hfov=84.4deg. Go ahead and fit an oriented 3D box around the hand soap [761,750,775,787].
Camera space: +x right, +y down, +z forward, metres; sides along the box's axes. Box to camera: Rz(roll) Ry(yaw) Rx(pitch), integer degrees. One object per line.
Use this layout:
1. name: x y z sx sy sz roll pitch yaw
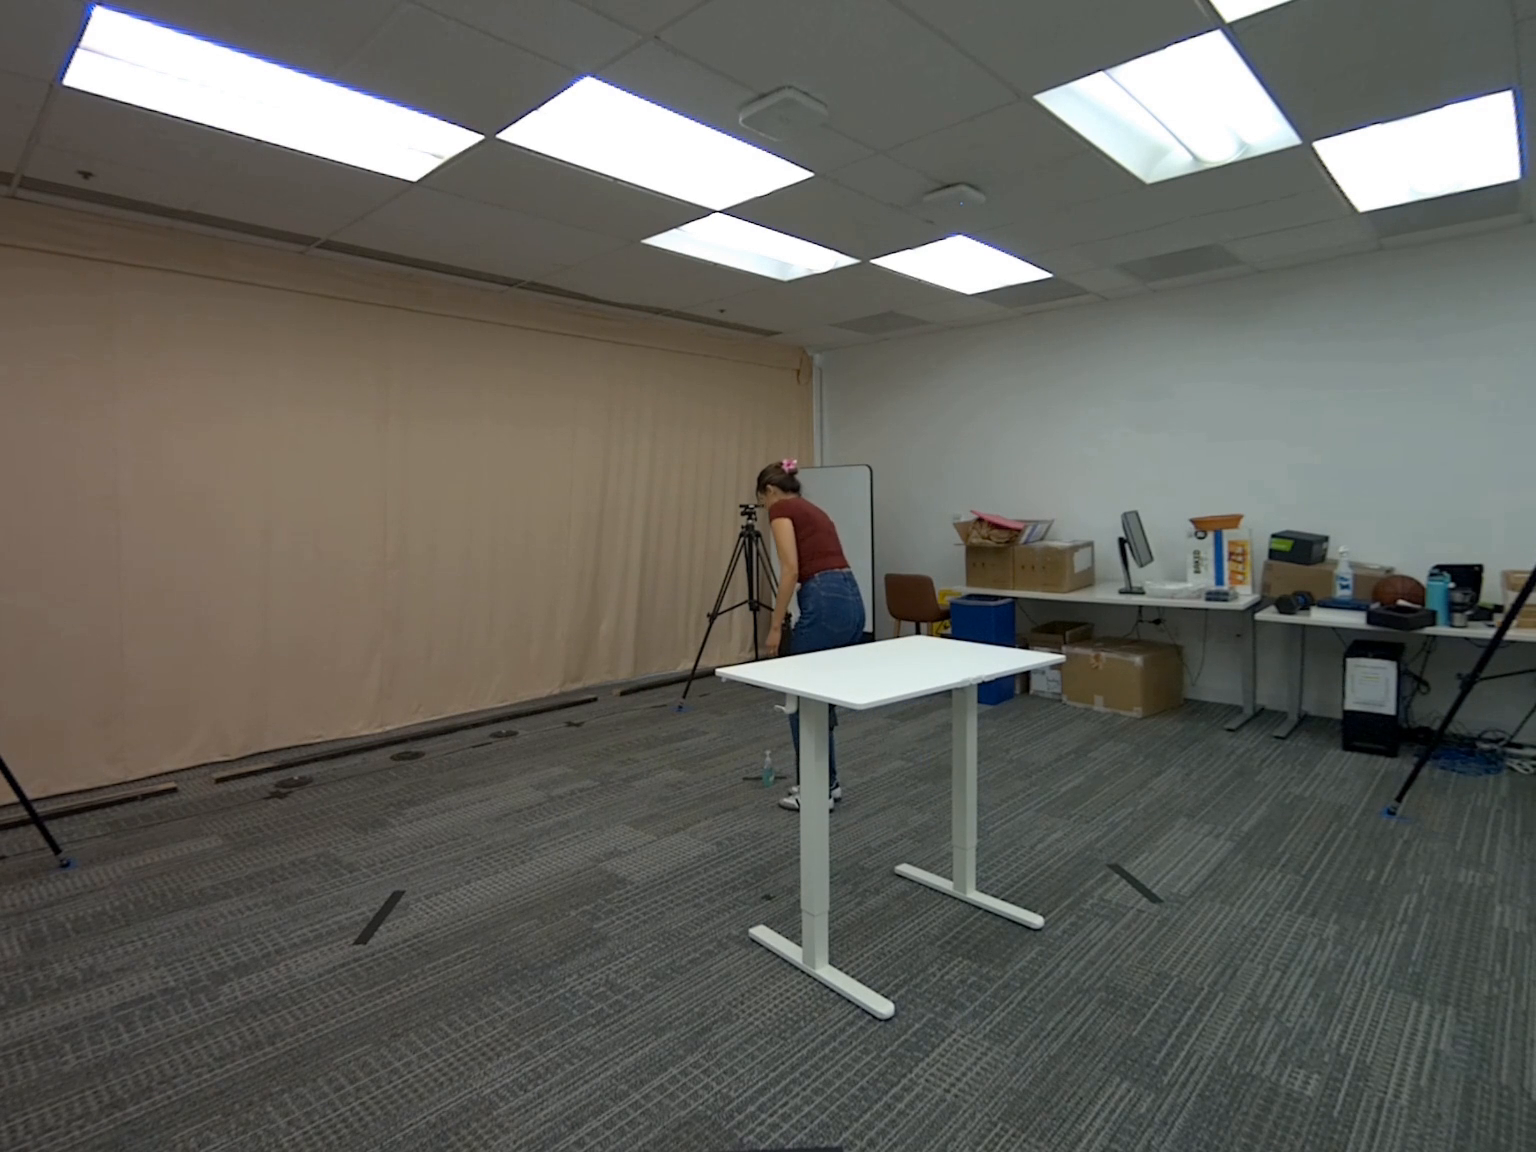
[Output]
1. hand soap: 0.001 0.958 4.198 0.044 0.168 0.083 -5 1 22
